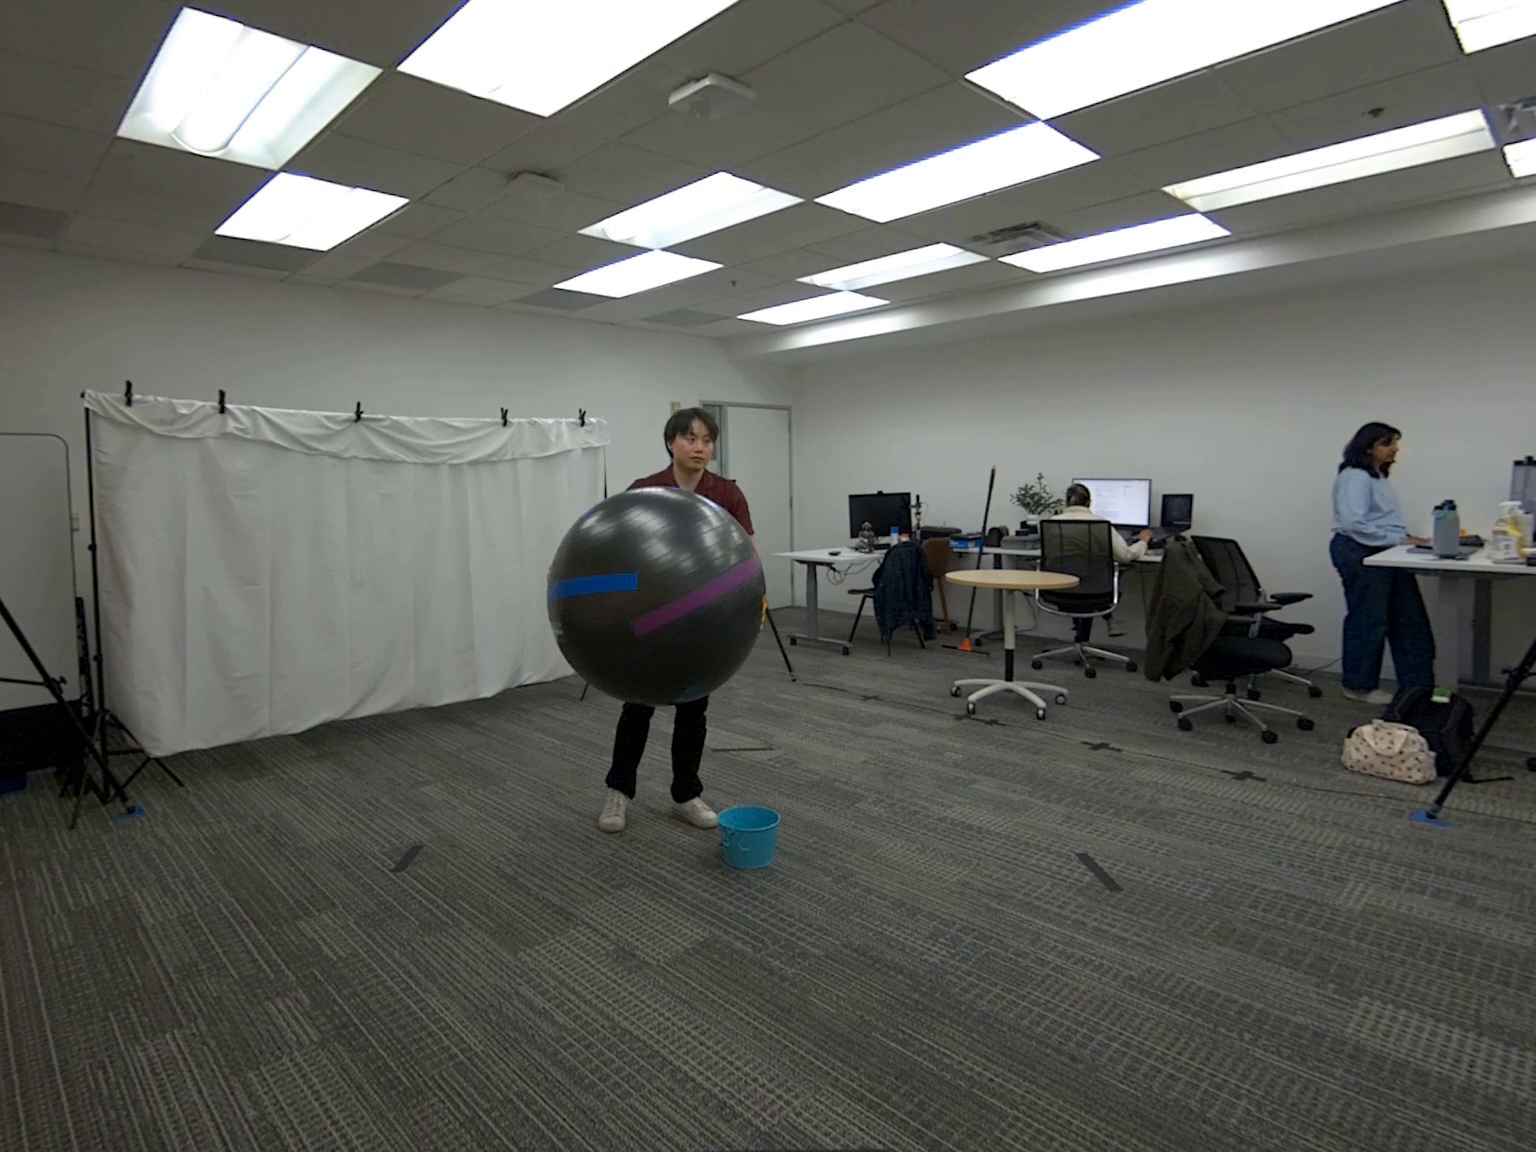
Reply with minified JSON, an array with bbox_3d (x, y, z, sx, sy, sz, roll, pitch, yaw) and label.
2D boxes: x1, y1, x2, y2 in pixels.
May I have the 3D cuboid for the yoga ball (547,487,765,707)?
[{"bbox_3d":[-0.387,0.077,2.977,0.757,0.755,0.762,-1,5,-2],"label":"yoga ball"}]
